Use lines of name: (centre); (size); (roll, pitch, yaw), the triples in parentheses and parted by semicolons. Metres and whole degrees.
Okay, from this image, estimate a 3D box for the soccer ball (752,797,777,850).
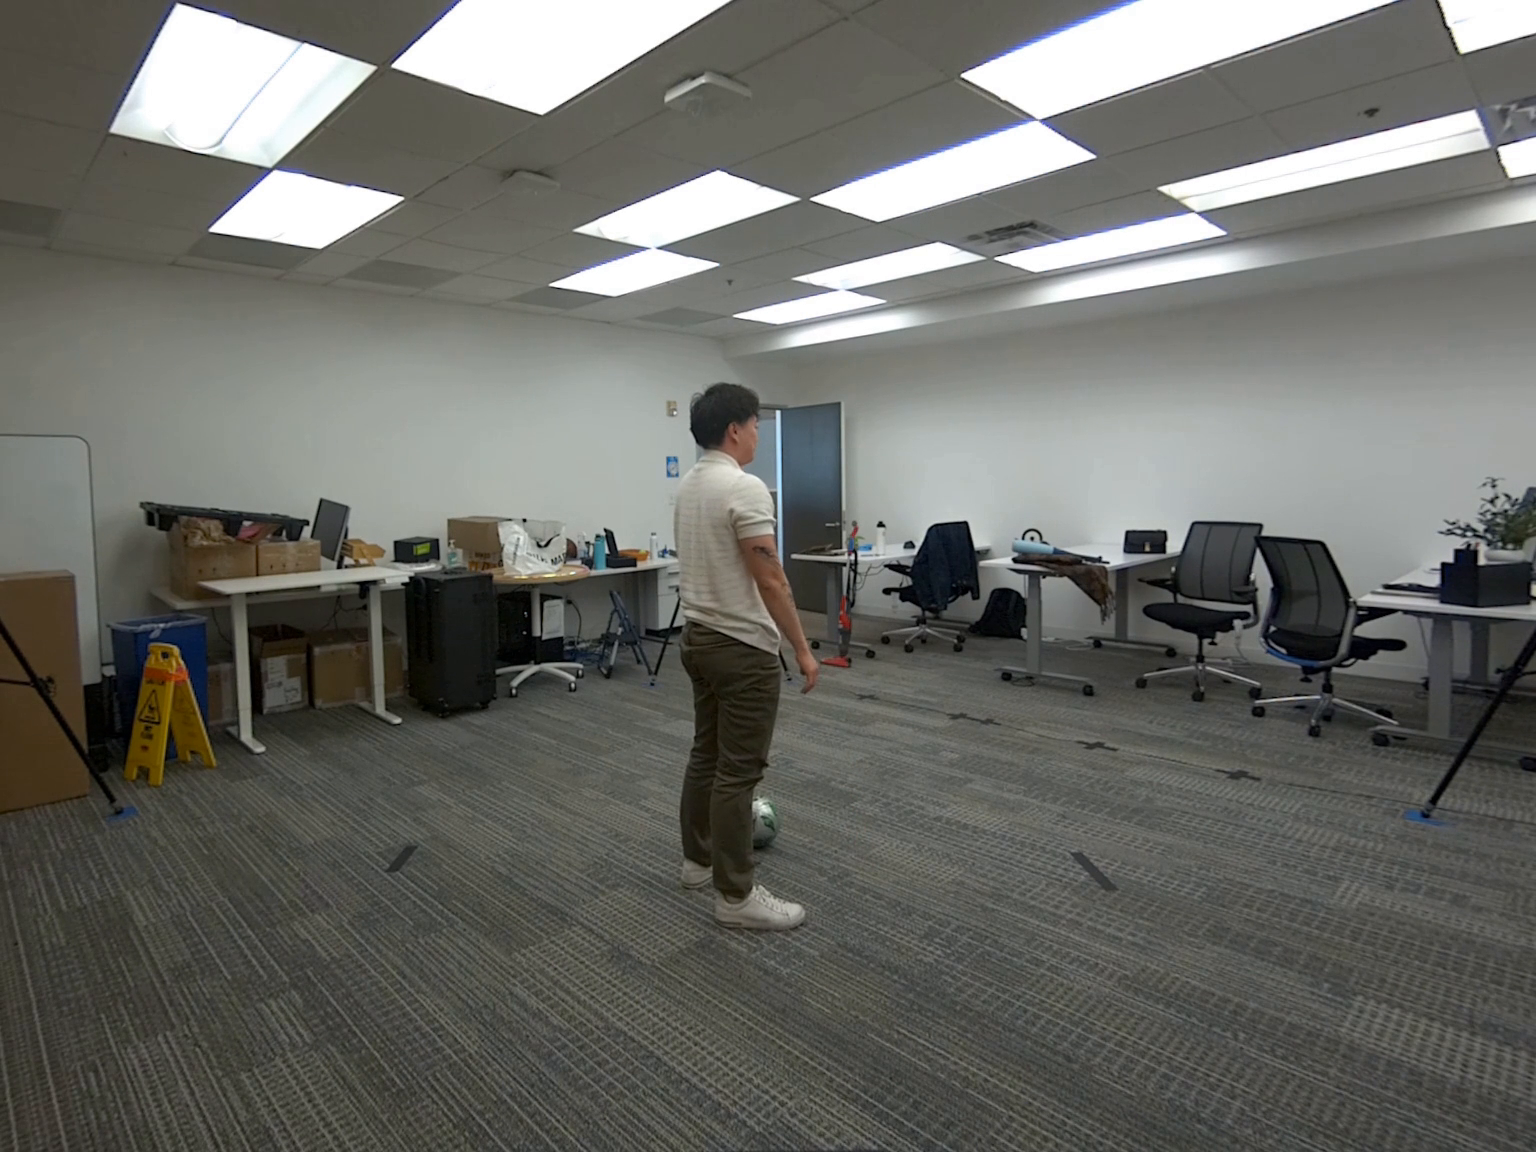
soccer ball: (-0.045, 0.940, 3.257); (0.187, 0.187, 0.188); (-1, 5, -2)
